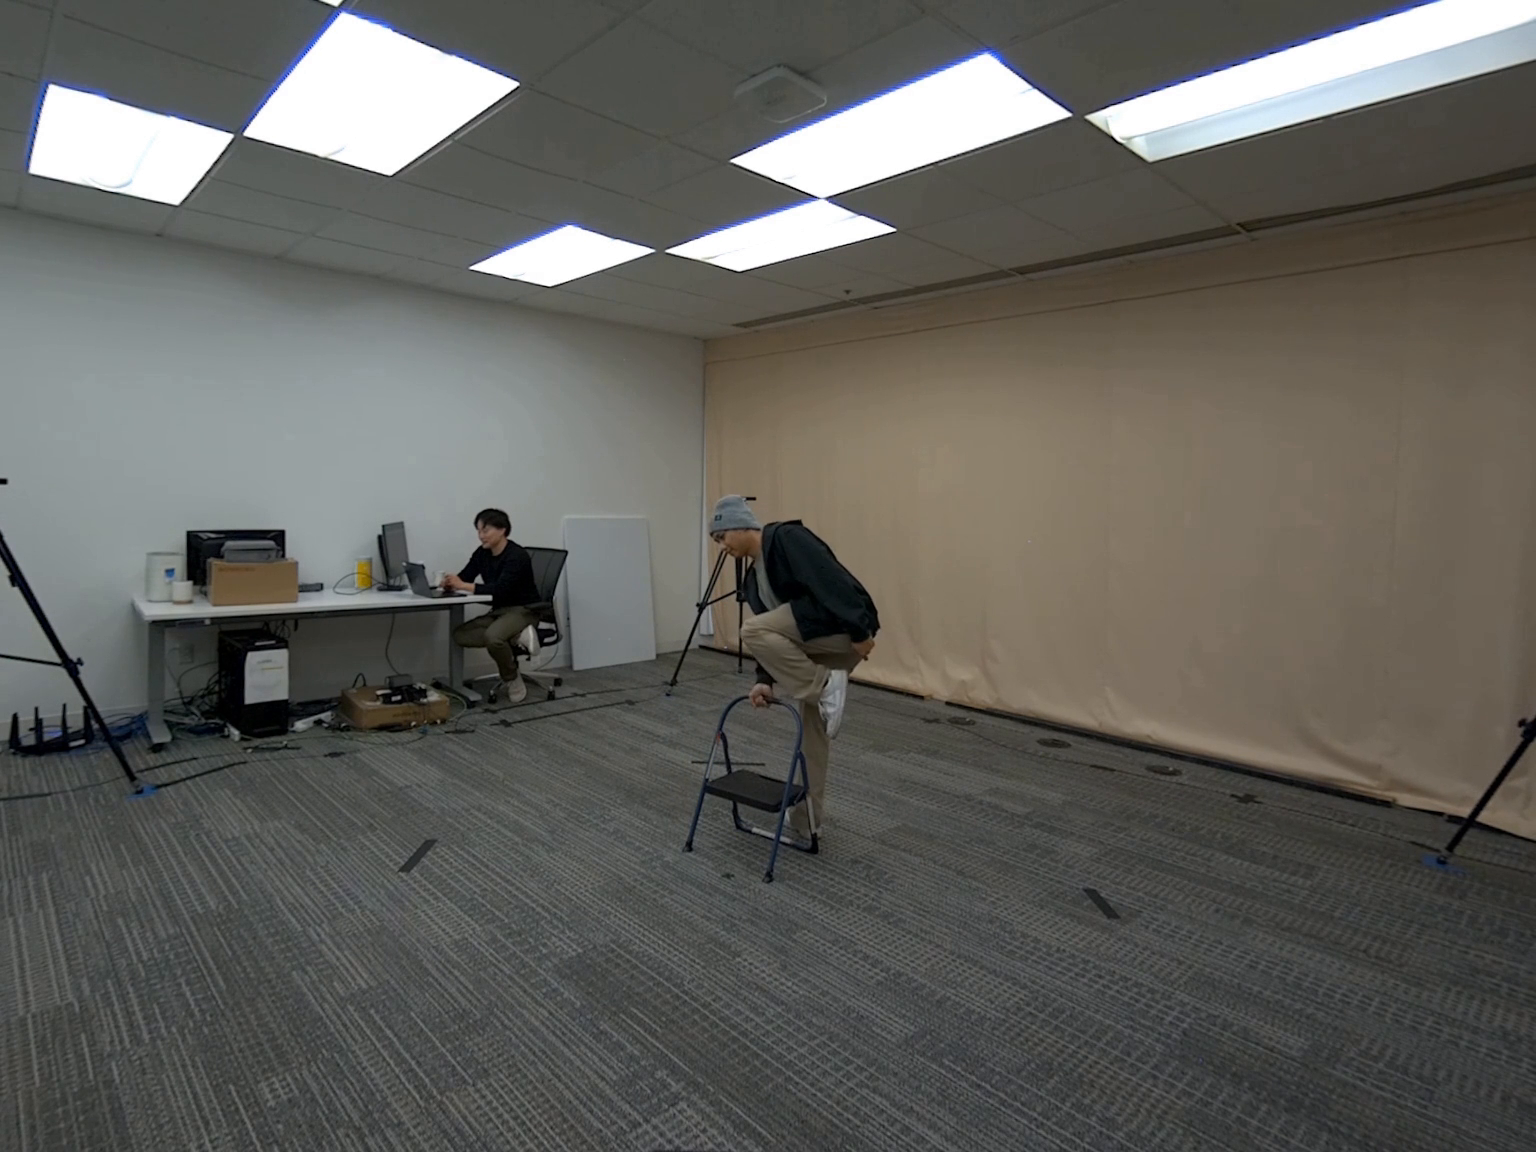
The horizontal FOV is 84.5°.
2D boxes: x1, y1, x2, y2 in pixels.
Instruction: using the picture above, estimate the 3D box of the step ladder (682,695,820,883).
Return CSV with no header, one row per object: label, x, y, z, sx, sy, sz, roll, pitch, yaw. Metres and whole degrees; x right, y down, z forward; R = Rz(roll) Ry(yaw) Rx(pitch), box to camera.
step ladder,-0.061,0.786,3.303,0.441,0.605,0.341,5,4,37
